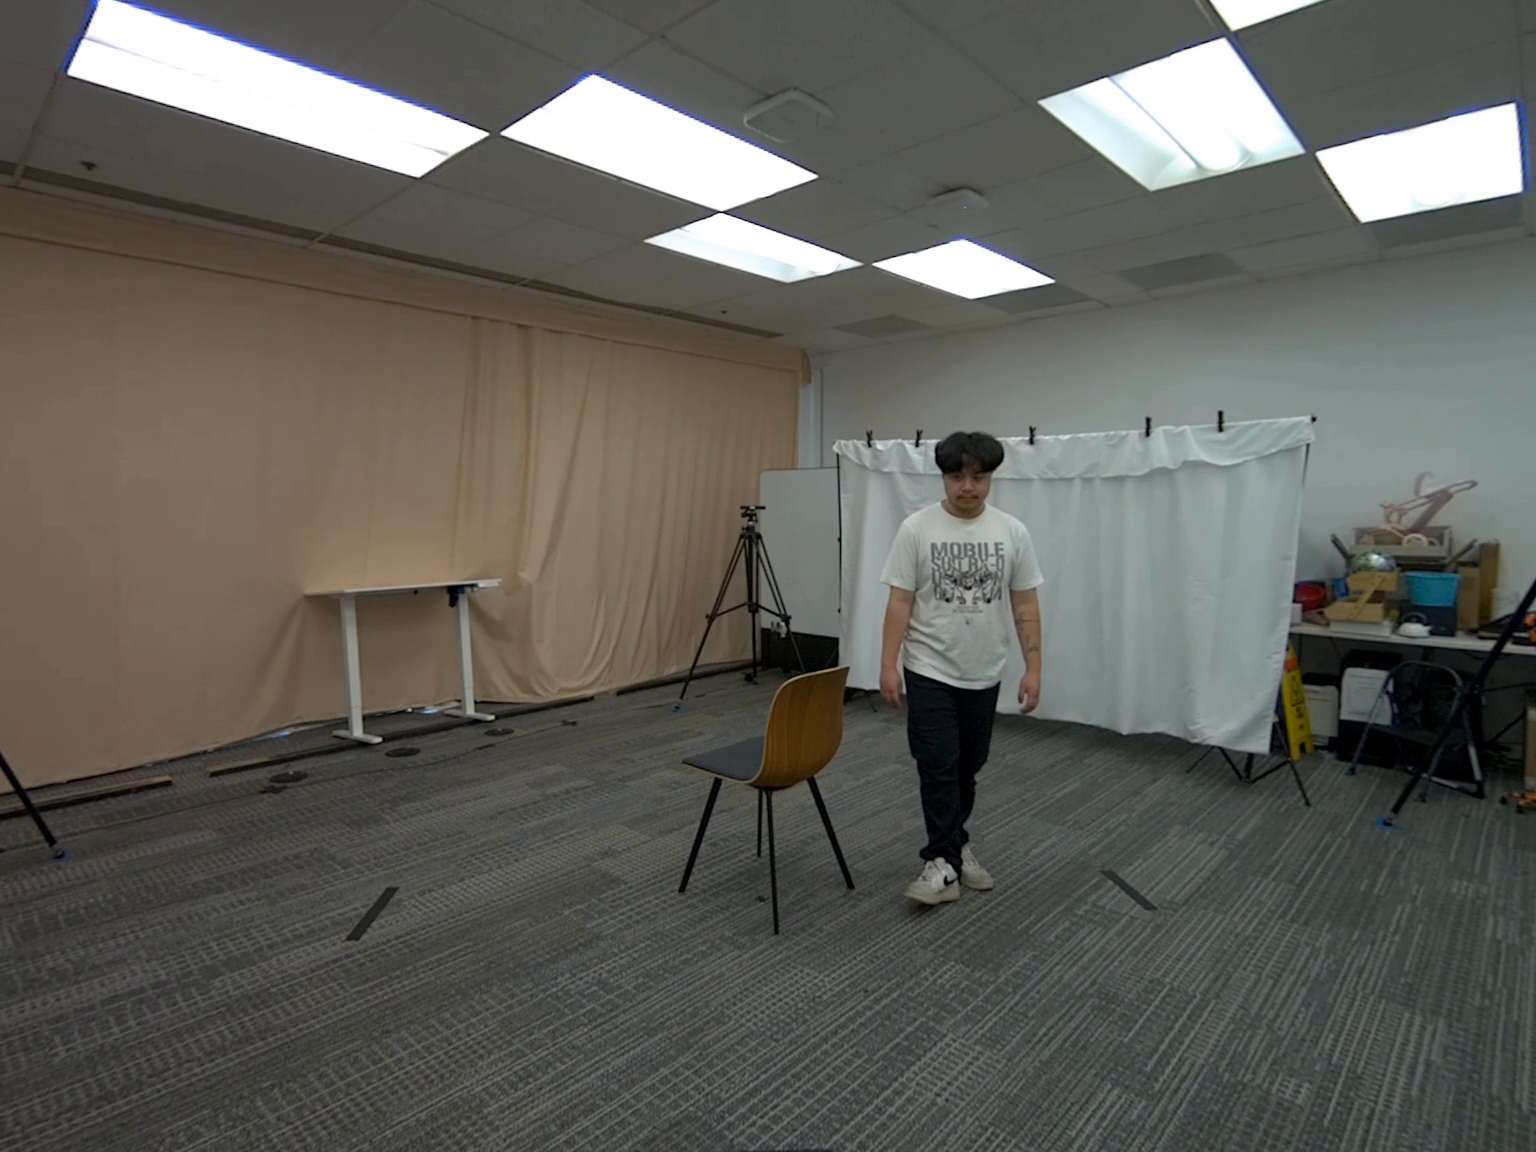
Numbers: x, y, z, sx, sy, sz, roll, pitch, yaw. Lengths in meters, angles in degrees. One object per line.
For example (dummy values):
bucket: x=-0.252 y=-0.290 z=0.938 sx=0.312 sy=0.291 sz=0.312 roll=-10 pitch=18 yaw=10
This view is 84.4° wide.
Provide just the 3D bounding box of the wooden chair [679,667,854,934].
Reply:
wooden chair: x=-0.012 y=0.714 z=3.022 sx=0.541 sy=0.874 sz=0.463 roll=8 pitch=8 yaw=41
